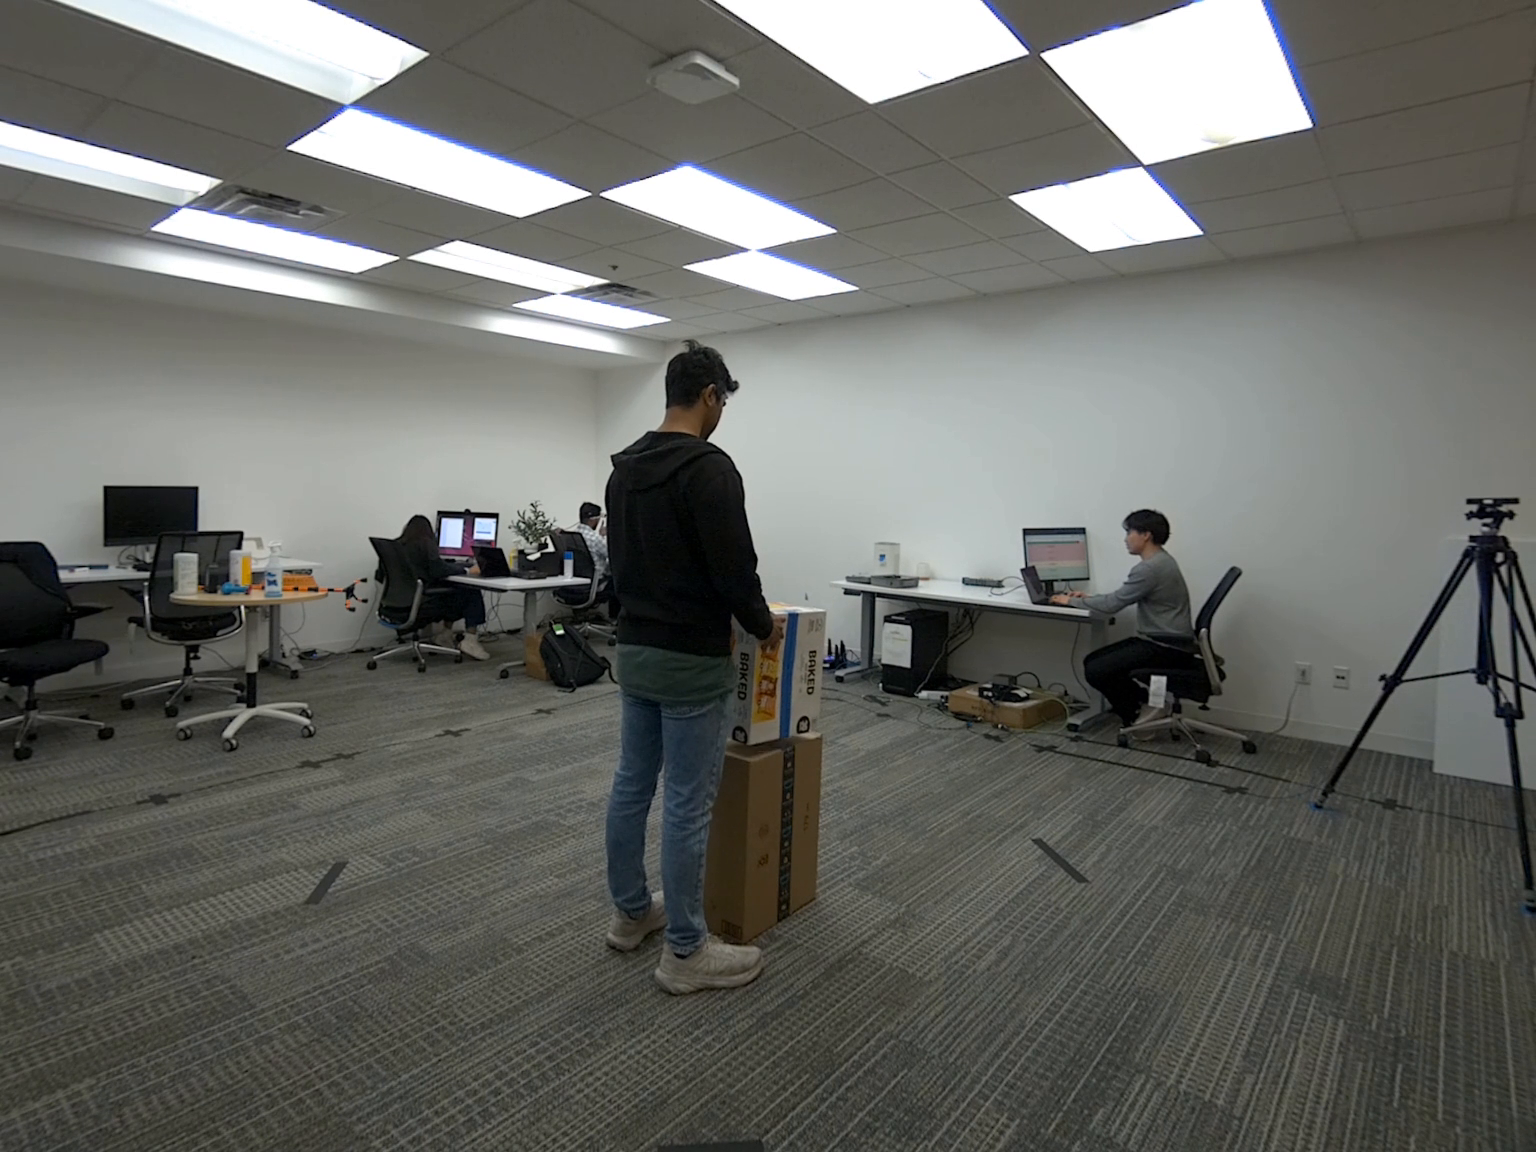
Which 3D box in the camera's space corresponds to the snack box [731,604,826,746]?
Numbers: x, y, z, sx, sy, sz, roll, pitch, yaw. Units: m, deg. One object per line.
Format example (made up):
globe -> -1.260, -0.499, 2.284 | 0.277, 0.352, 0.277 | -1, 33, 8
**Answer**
snack box -> -0.015, 0.297, 2.770 | 0.213, 0.404, 0.329 | 5, 3, 43
